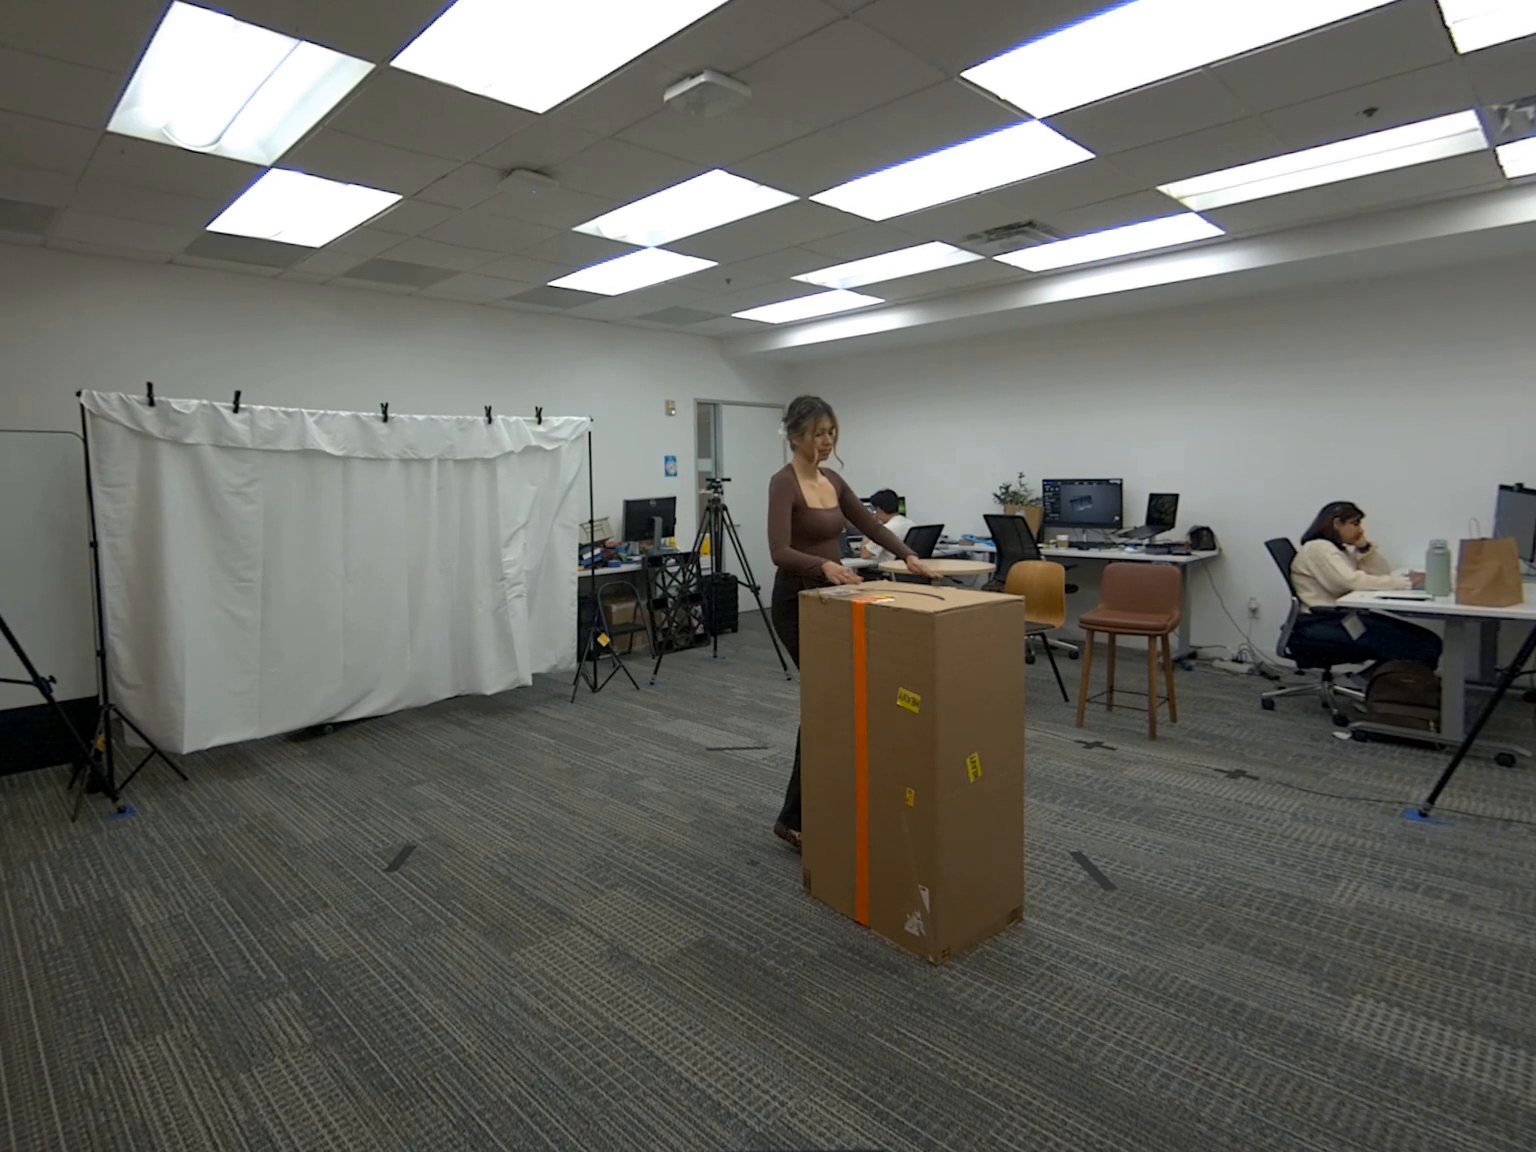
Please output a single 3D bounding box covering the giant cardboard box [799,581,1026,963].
[{"bbox_3d":[0.454,0.565,2.746,0.435,1.023,0.601,-5,6,-37],"label":"giant cardboard box"}]
